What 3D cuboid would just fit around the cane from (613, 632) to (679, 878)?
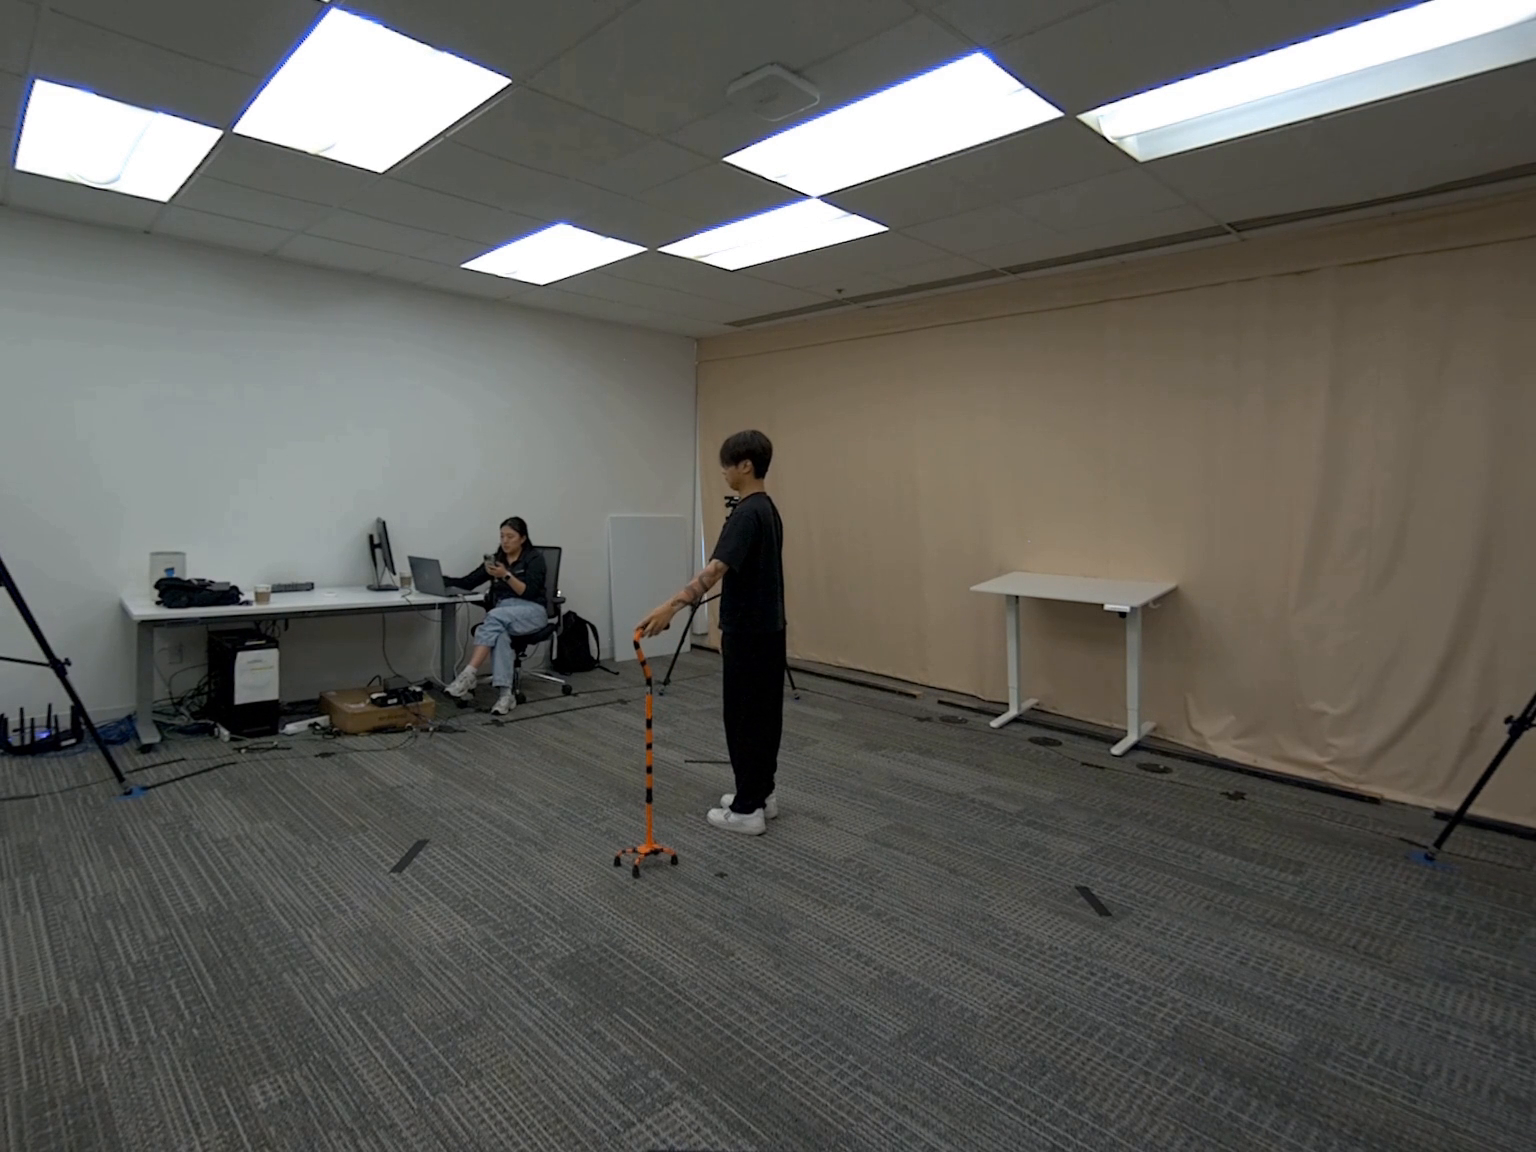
[{"bbox_3d":[-0.465,0.635,3.174,0.202,0.907,0.155,-1,1,-40],"label":"cane"}]
